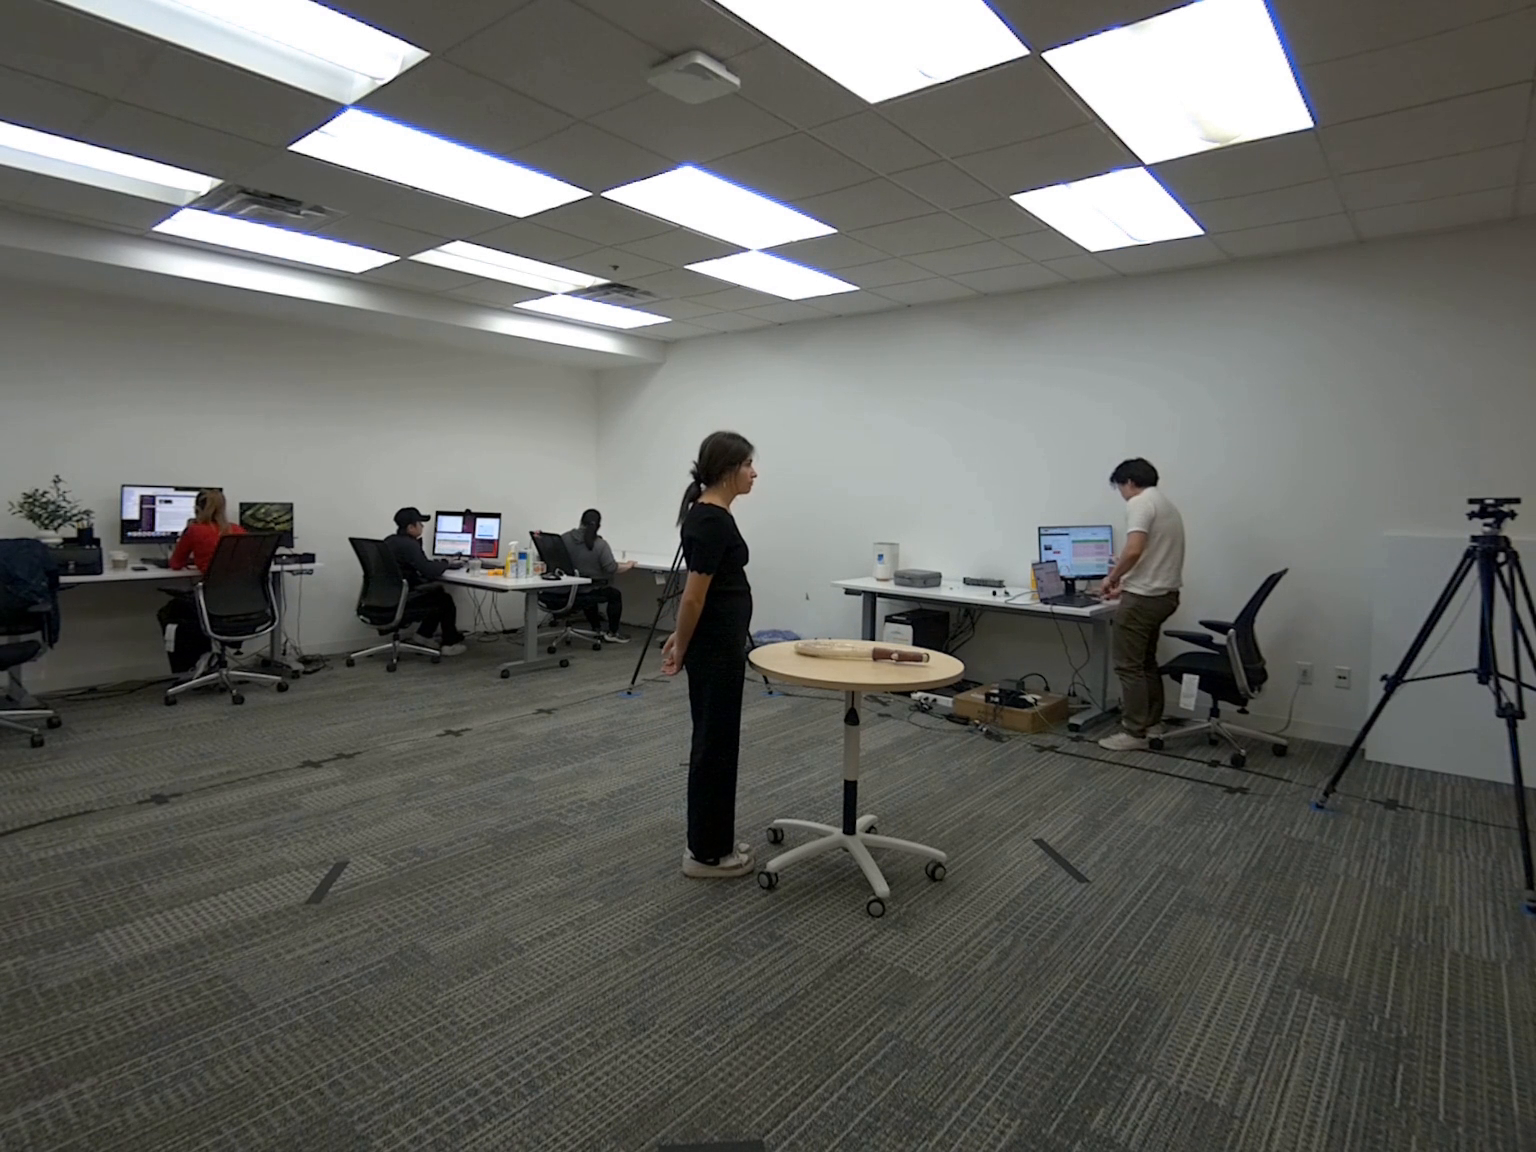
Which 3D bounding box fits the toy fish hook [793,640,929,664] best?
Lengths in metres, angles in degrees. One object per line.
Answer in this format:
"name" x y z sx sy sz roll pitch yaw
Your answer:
"toy fish hook" 0.343 0.276 3.125 0.519 0.048 0.221 2 10 24
